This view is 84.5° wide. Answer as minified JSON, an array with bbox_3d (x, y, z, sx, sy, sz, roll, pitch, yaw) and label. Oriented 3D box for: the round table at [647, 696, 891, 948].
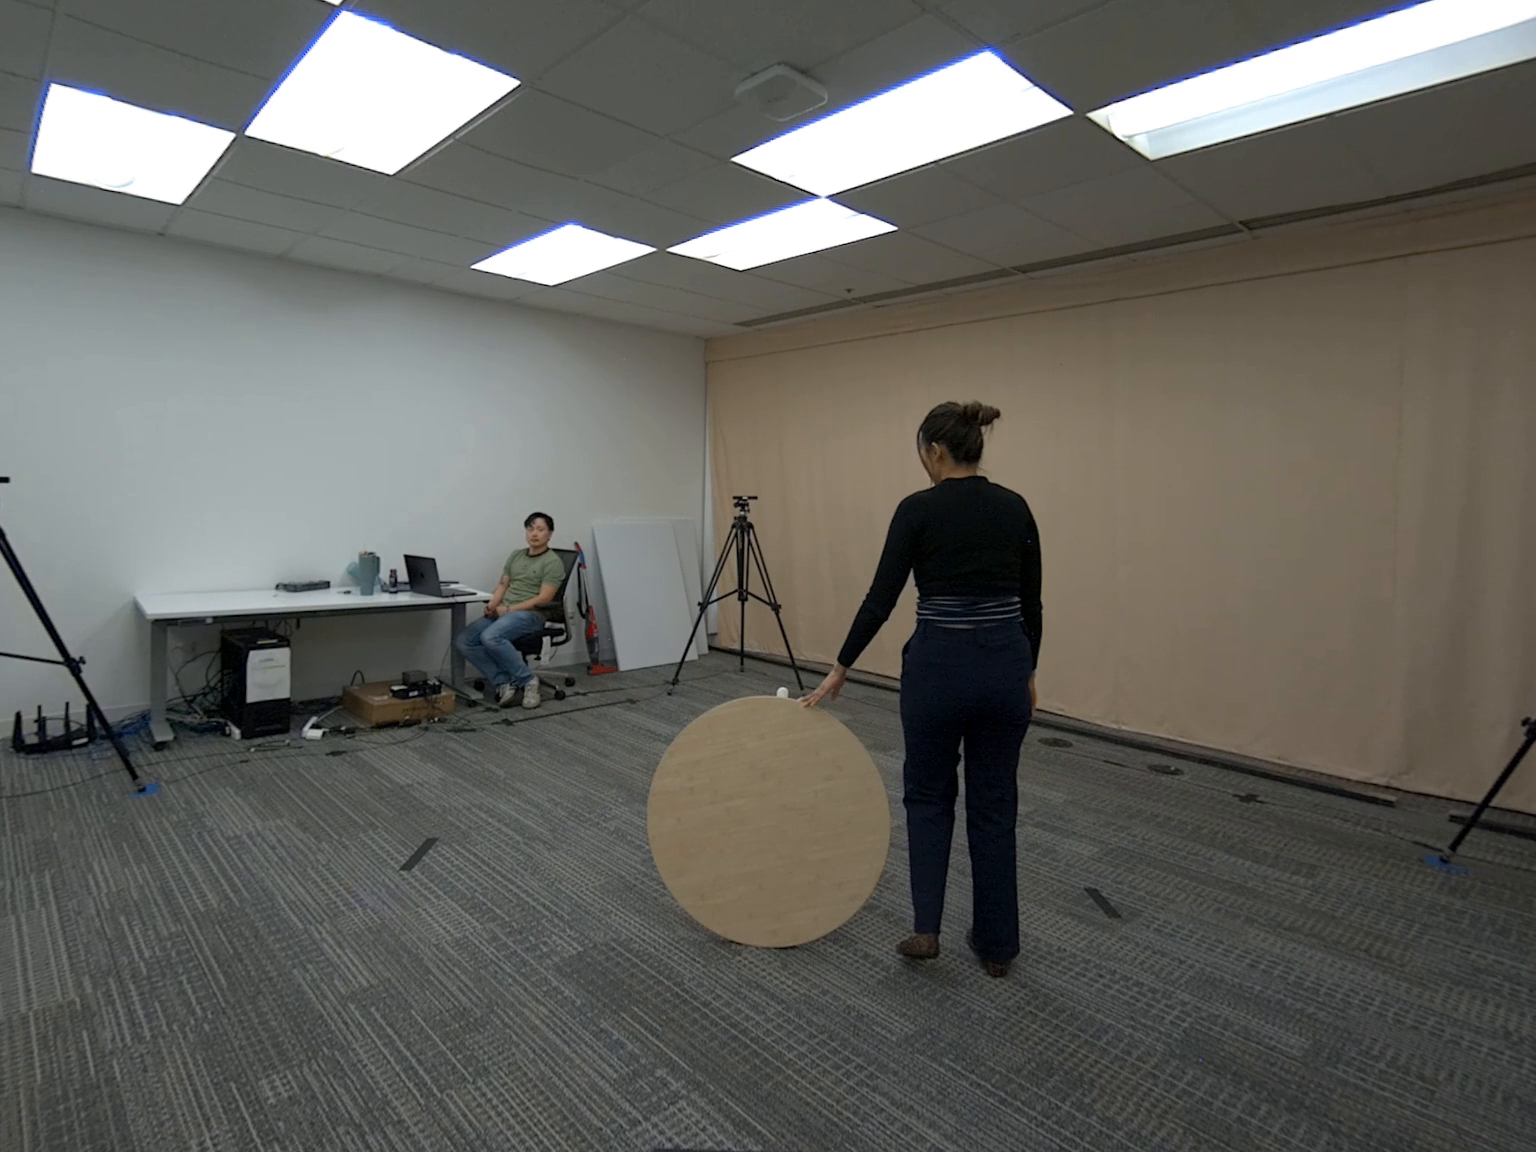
[{"bbox_3d":[0.017,0.788,3.026,0.768,0.766,0.788,2,-3,5],"label":"round table"}]
